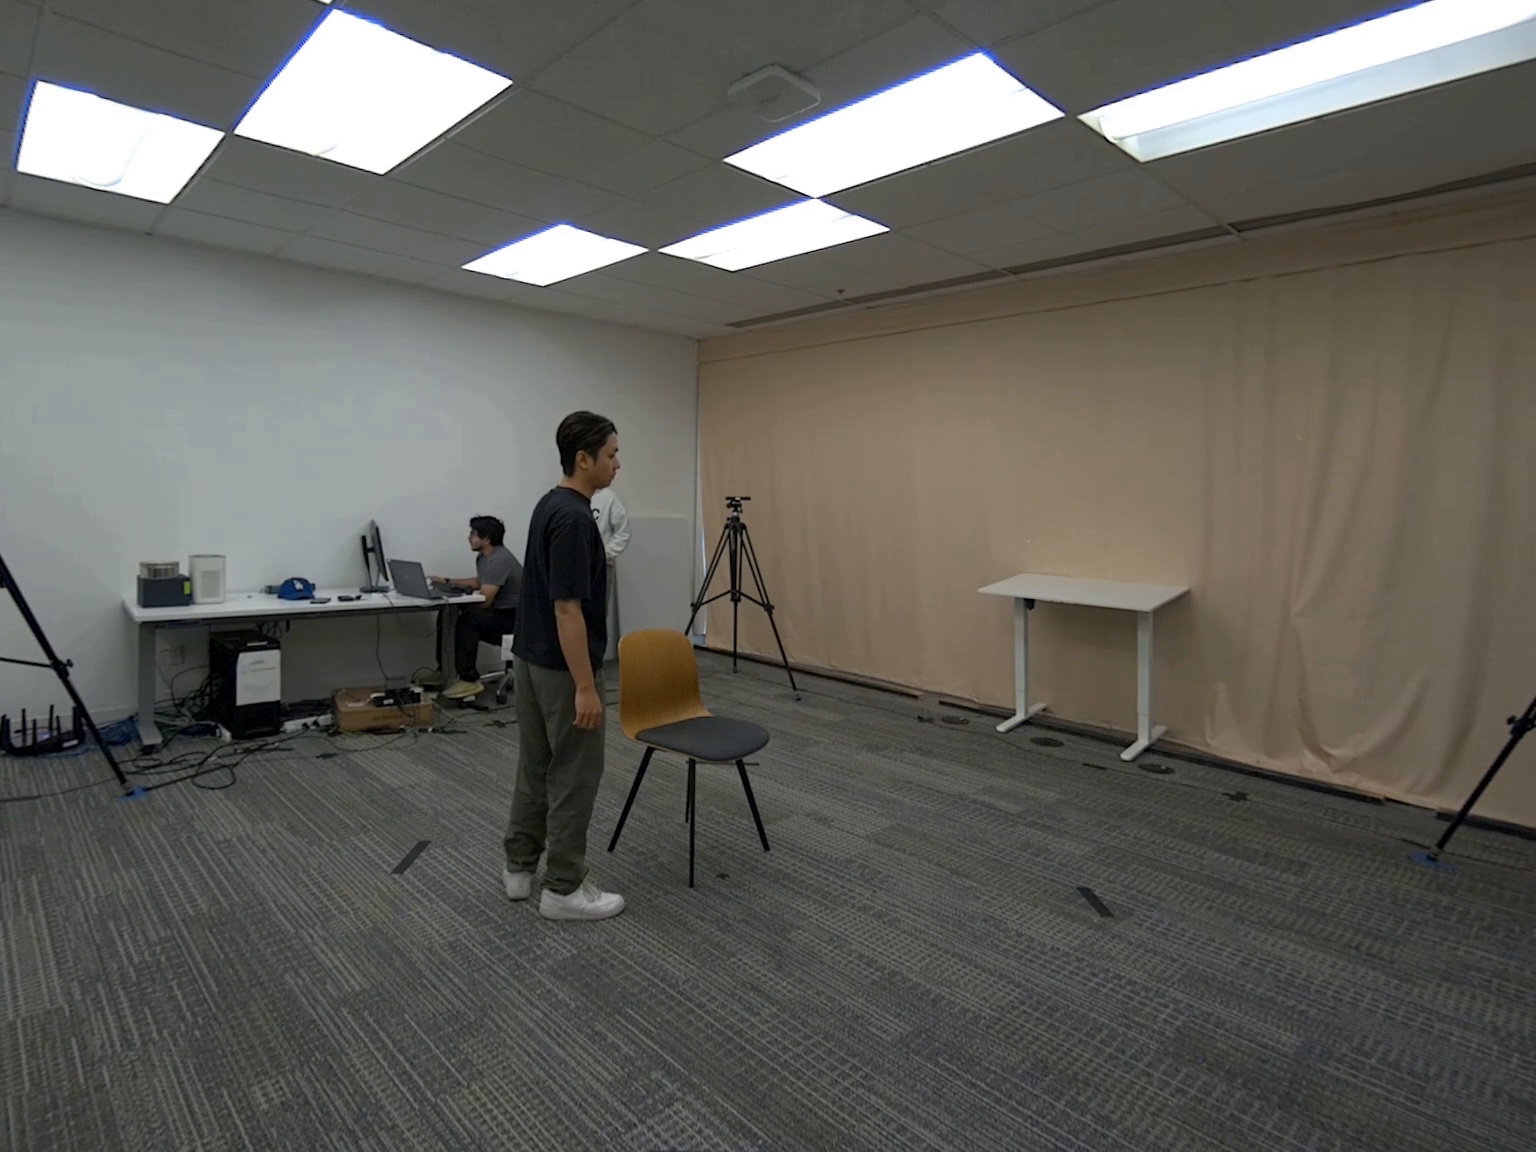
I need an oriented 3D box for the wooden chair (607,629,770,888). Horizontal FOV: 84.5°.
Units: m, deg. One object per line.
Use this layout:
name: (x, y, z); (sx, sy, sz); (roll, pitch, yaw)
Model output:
wooden chair: (-0.297, 0.659, 3.279); (0.535, 0.877, 0.467); (-1, 0, 40)
